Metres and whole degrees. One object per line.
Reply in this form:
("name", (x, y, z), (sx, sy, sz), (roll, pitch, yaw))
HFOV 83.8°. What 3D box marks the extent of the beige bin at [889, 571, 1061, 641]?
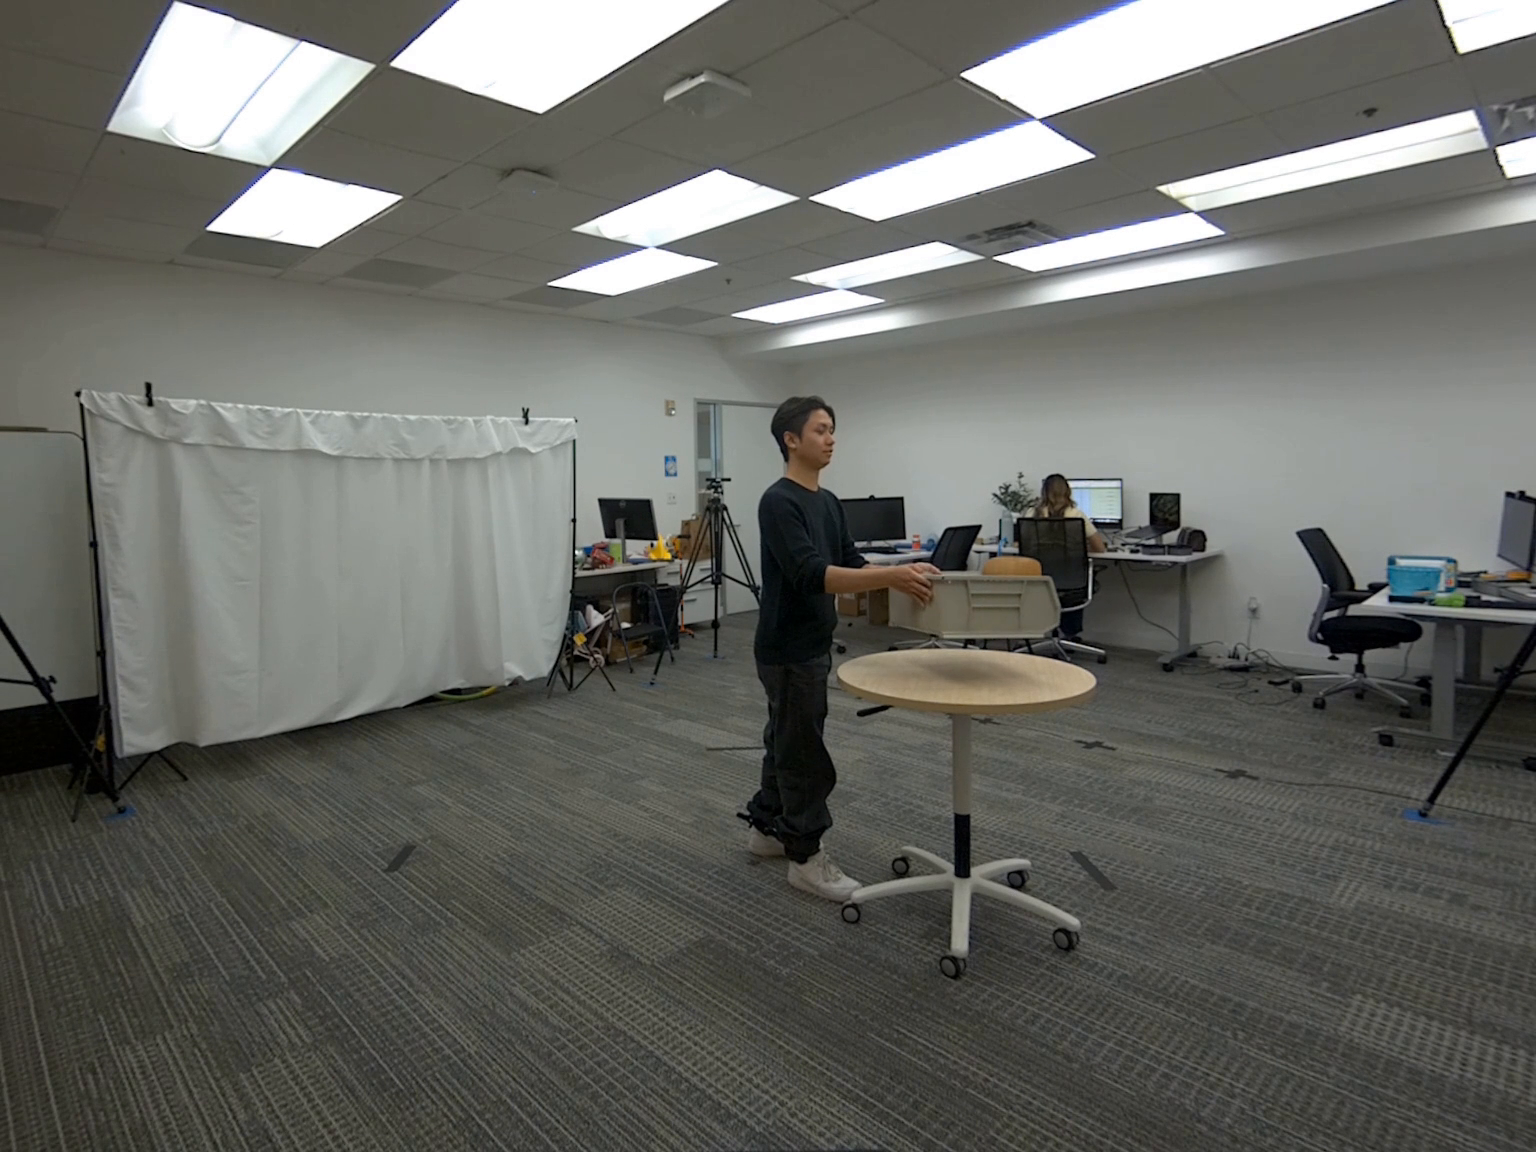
("beige bin", (0.638, 0.086, 2.630), (0.374, 0.189, 0.426), (-2, 3, -9))
